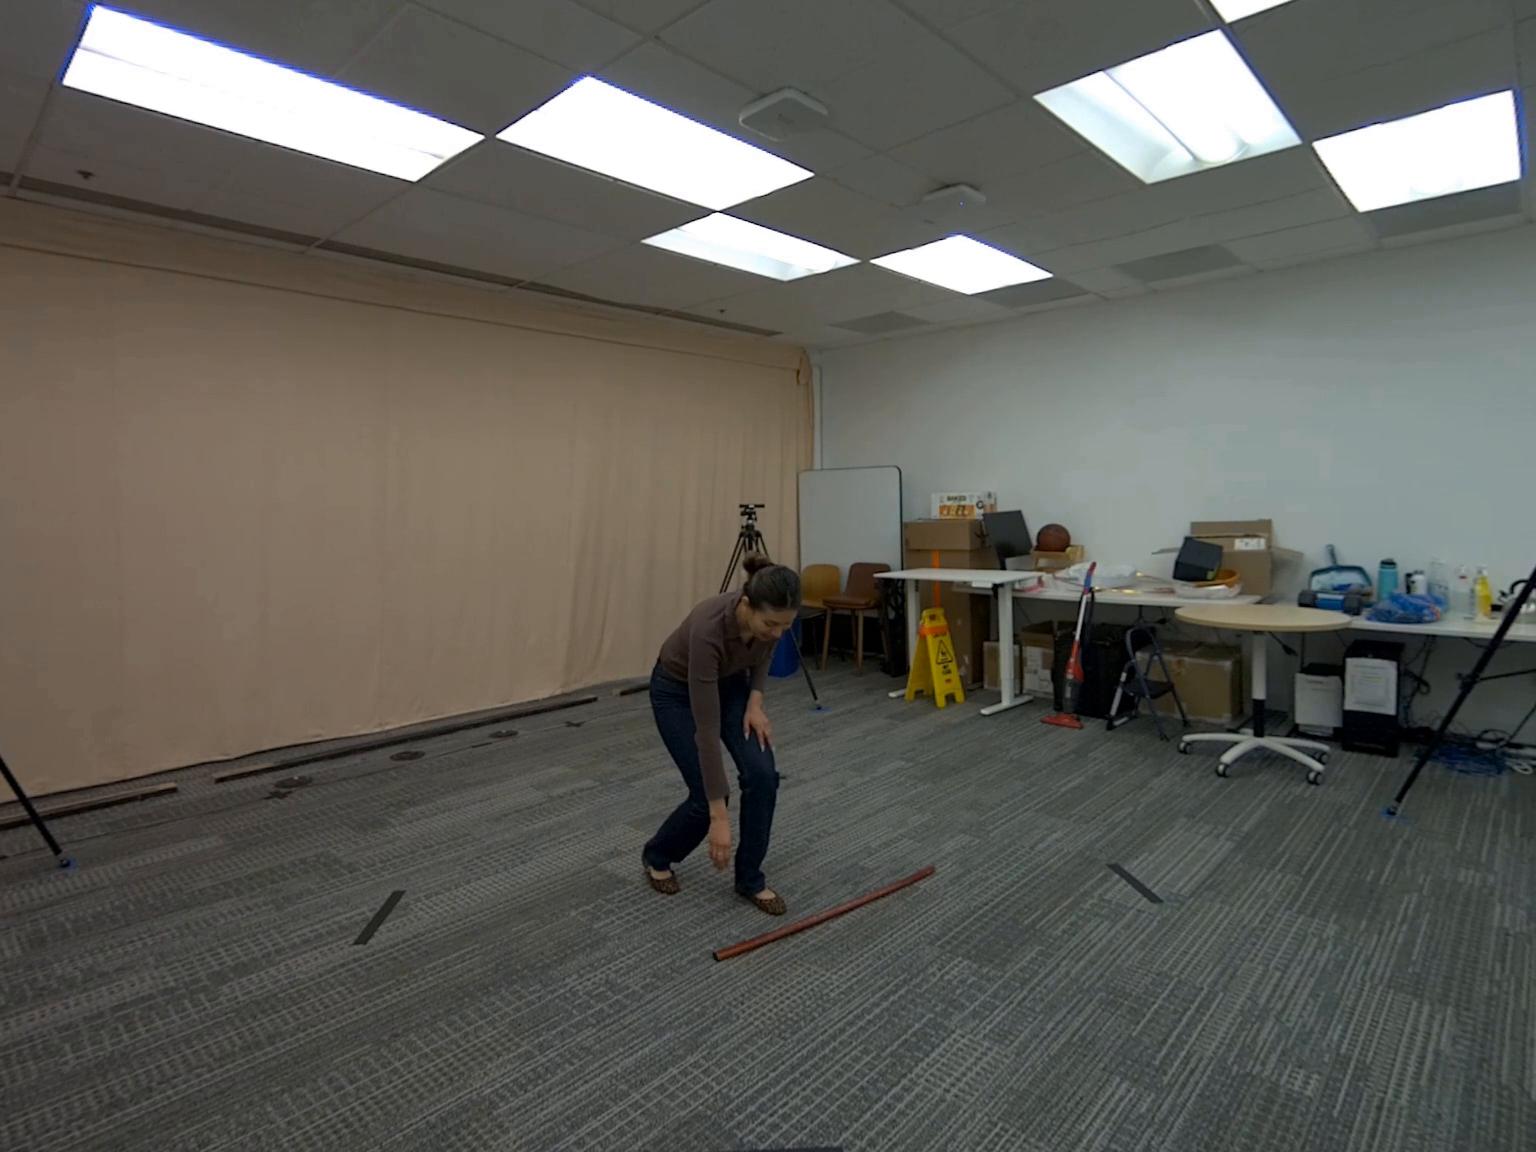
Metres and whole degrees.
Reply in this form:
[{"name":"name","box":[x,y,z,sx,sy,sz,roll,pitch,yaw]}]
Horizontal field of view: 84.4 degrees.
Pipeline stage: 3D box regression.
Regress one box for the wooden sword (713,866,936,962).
[{"name":"wooden sword","box":[0.237,1.123,2.872,0.995,0.024,0.053,-4,46,-37]}]
